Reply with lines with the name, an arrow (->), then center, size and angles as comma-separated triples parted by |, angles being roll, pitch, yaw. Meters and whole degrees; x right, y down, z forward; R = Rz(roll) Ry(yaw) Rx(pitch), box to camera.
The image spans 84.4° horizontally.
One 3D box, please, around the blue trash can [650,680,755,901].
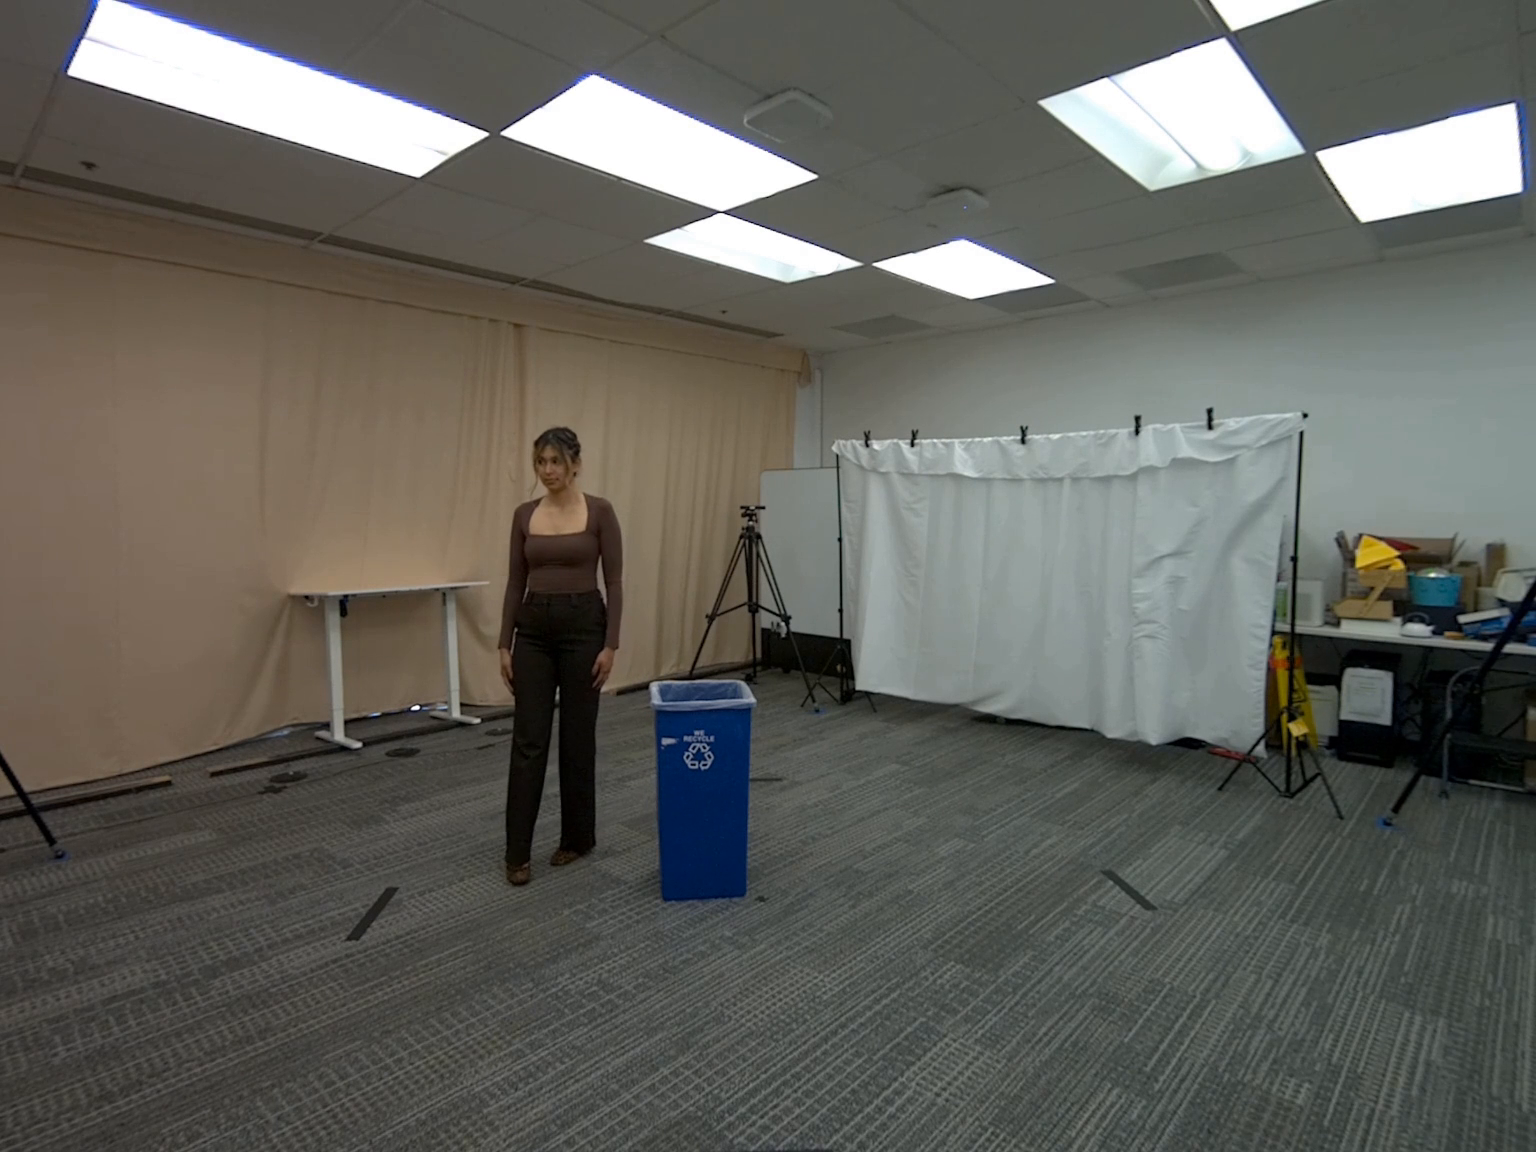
blue trash can -> -0.240, 0.776, 3.105 | 0.375, 0.712, 0.378 | -1, 3, -8
